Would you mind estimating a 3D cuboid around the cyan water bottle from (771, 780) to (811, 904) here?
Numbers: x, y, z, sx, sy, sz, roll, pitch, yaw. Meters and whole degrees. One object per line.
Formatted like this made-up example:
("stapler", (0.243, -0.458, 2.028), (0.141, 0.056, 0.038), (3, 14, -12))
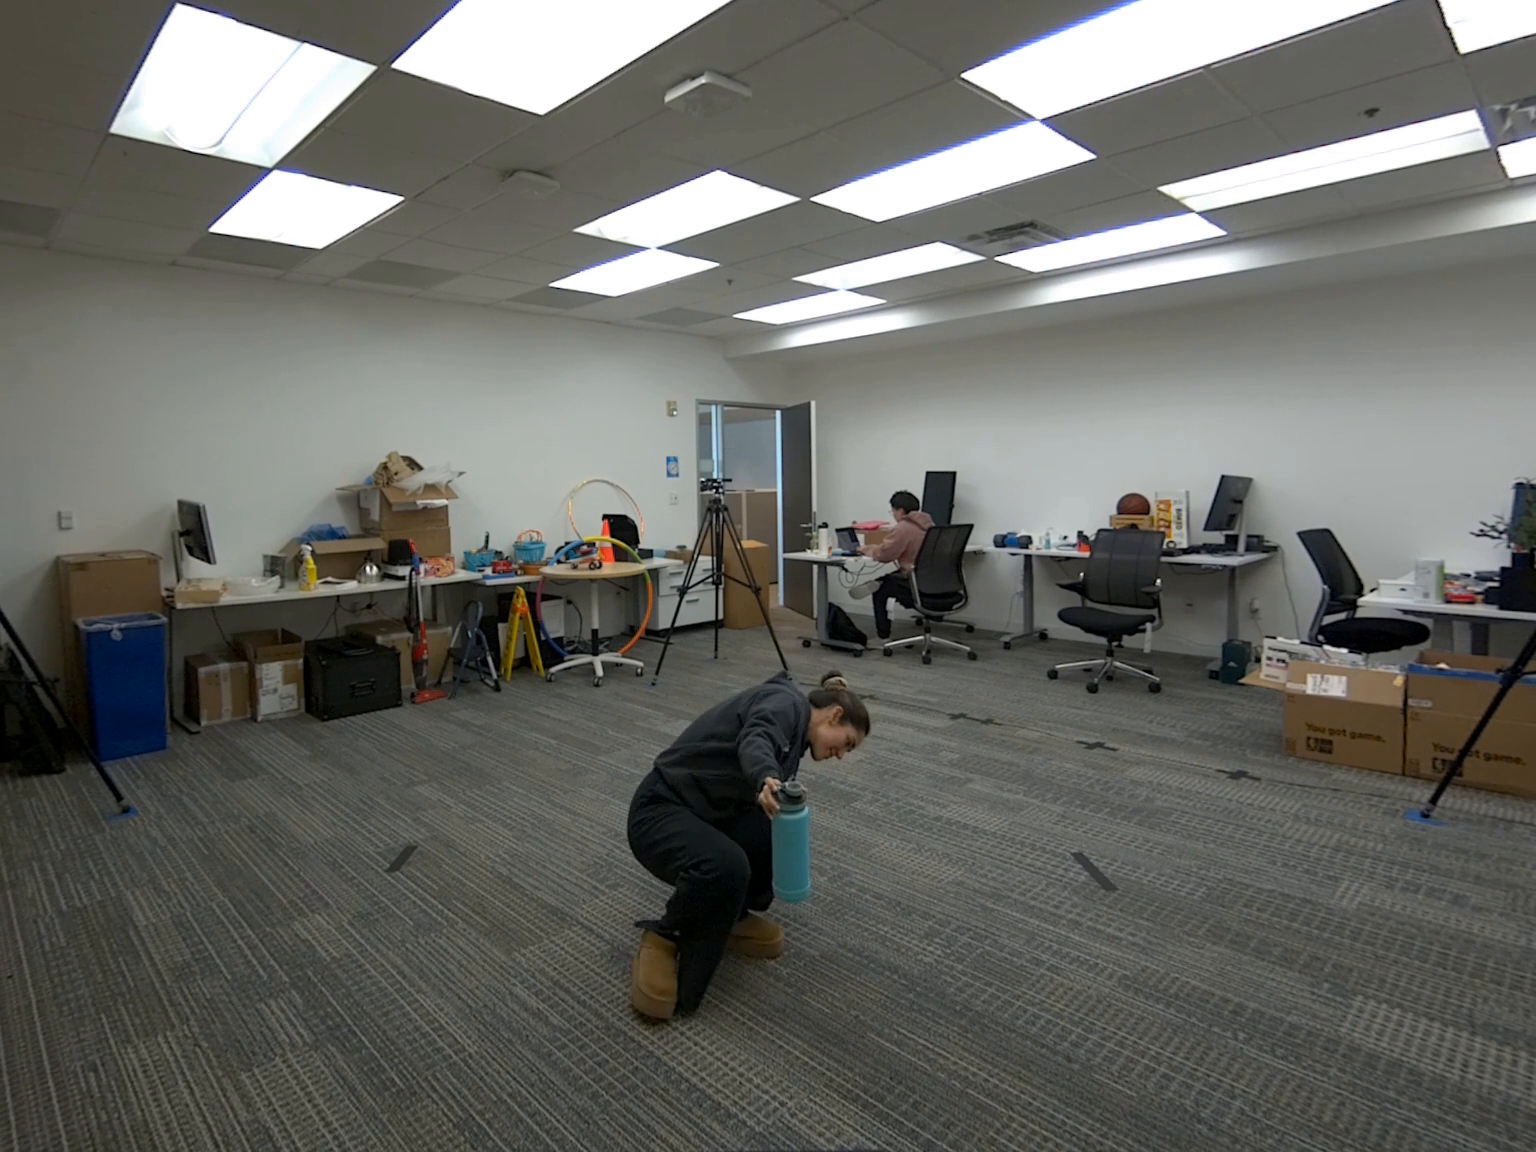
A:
("cyan water bottle", (0.061, 0.629, 2.021), (0.092, 0.280, 0.093), (-2, 11, -1))
